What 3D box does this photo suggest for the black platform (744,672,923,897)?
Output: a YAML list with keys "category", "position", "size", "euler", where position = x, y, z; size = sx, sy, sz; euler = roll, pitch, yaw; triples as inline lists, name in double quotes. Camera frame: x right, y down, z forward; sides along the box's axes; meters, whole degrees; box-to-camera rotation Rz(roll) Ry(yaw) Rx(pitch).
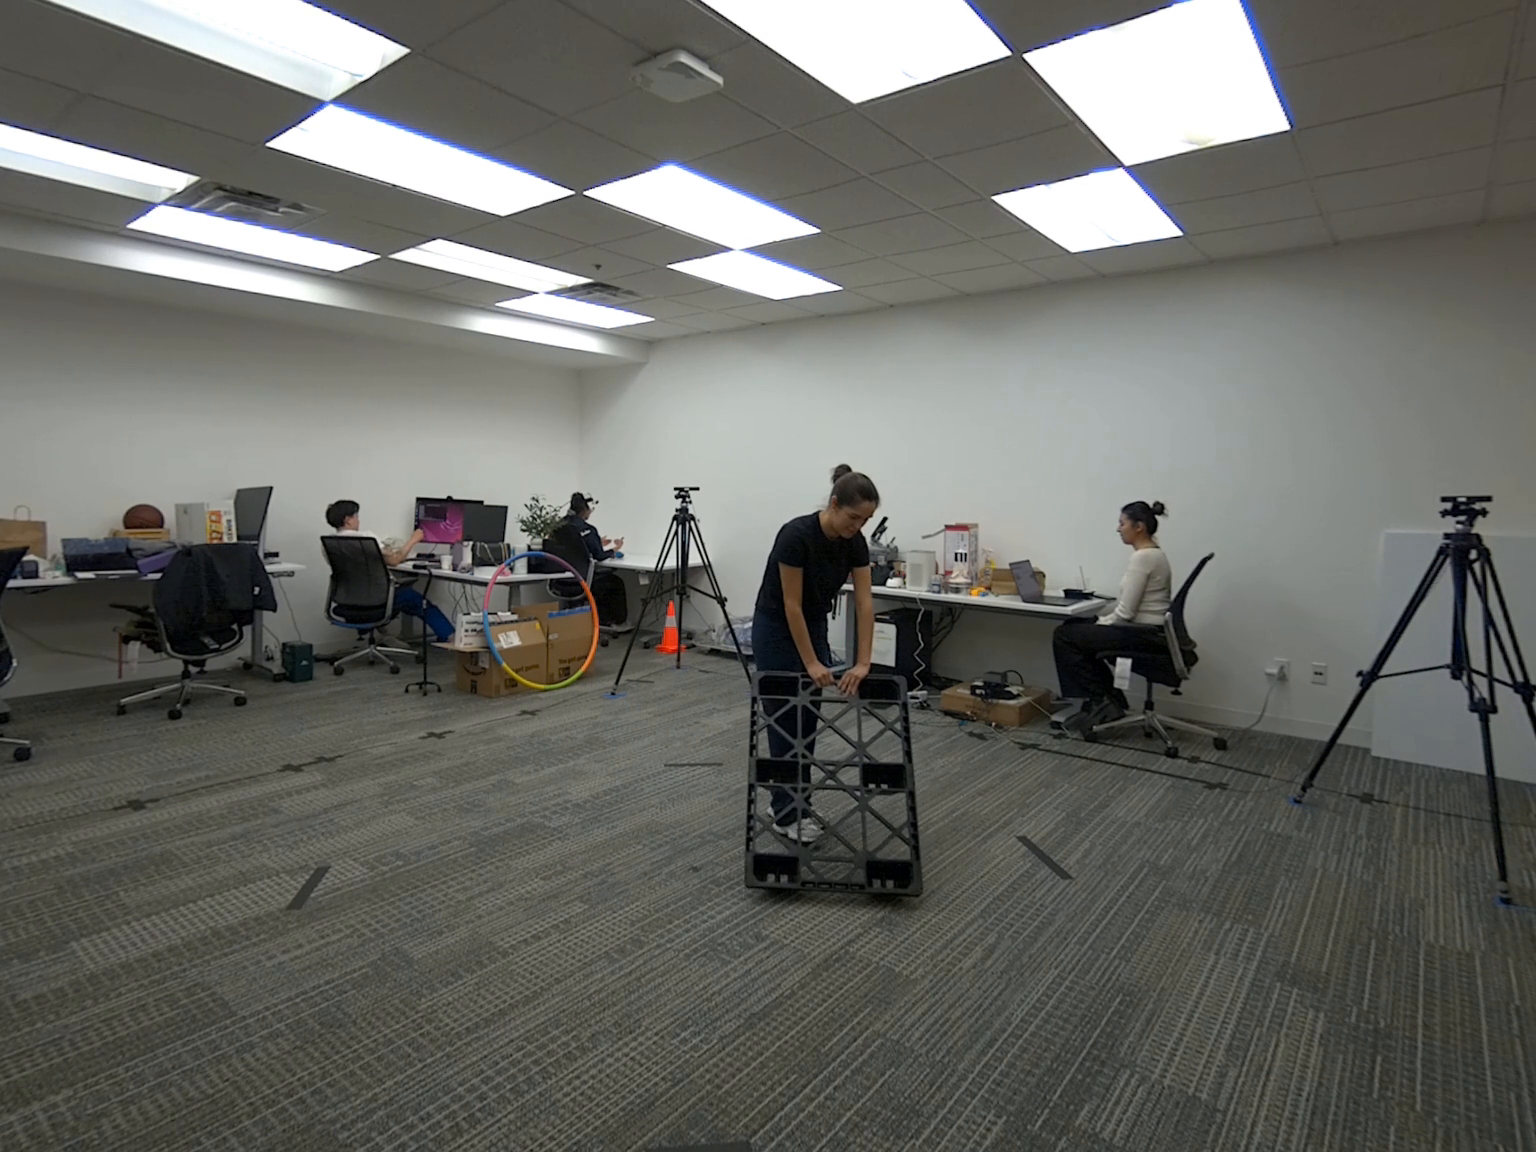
- category: "black platform"
  position: [0.244, 0.744, 3.132]
  size: [0.608, 0.826, 0.139]
  euler: [1, -34, 3]
